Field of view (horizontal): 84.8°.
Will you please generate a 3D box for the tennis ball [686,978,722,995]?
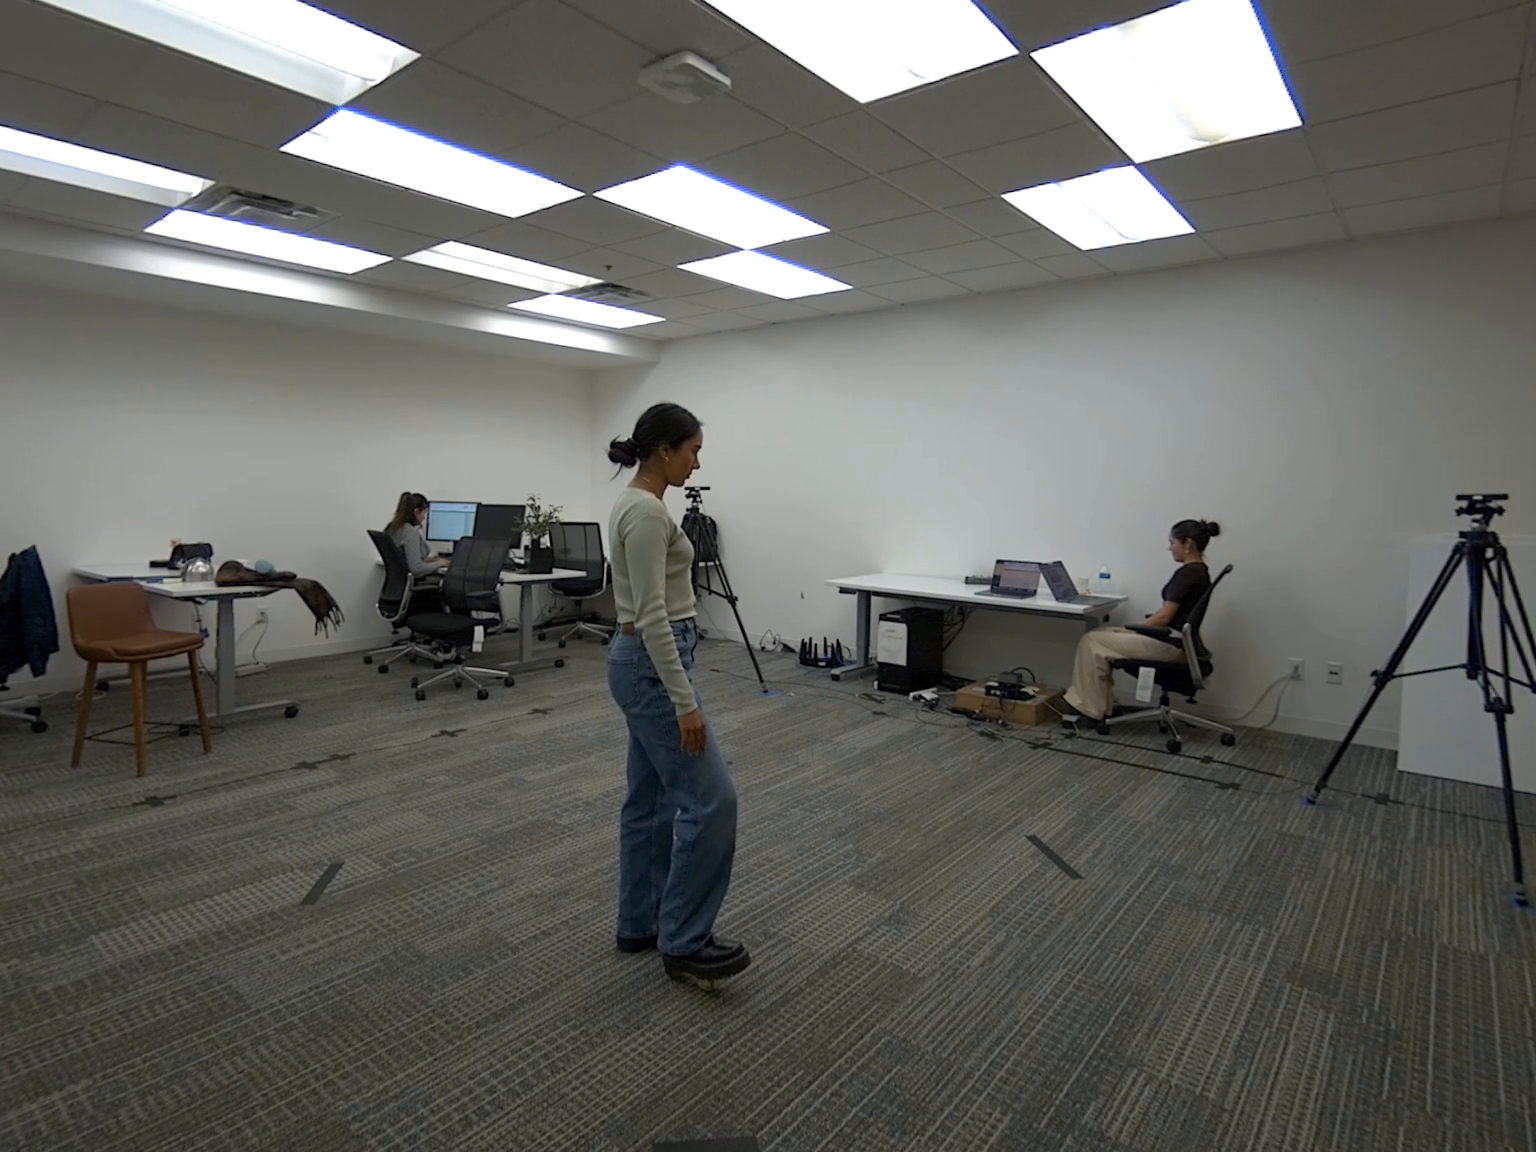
[{"bbox_3d":[-0.172,1.124,2.356,0.066,0.066,0.067,1,4,-2],"label":"tennis ball"}]
